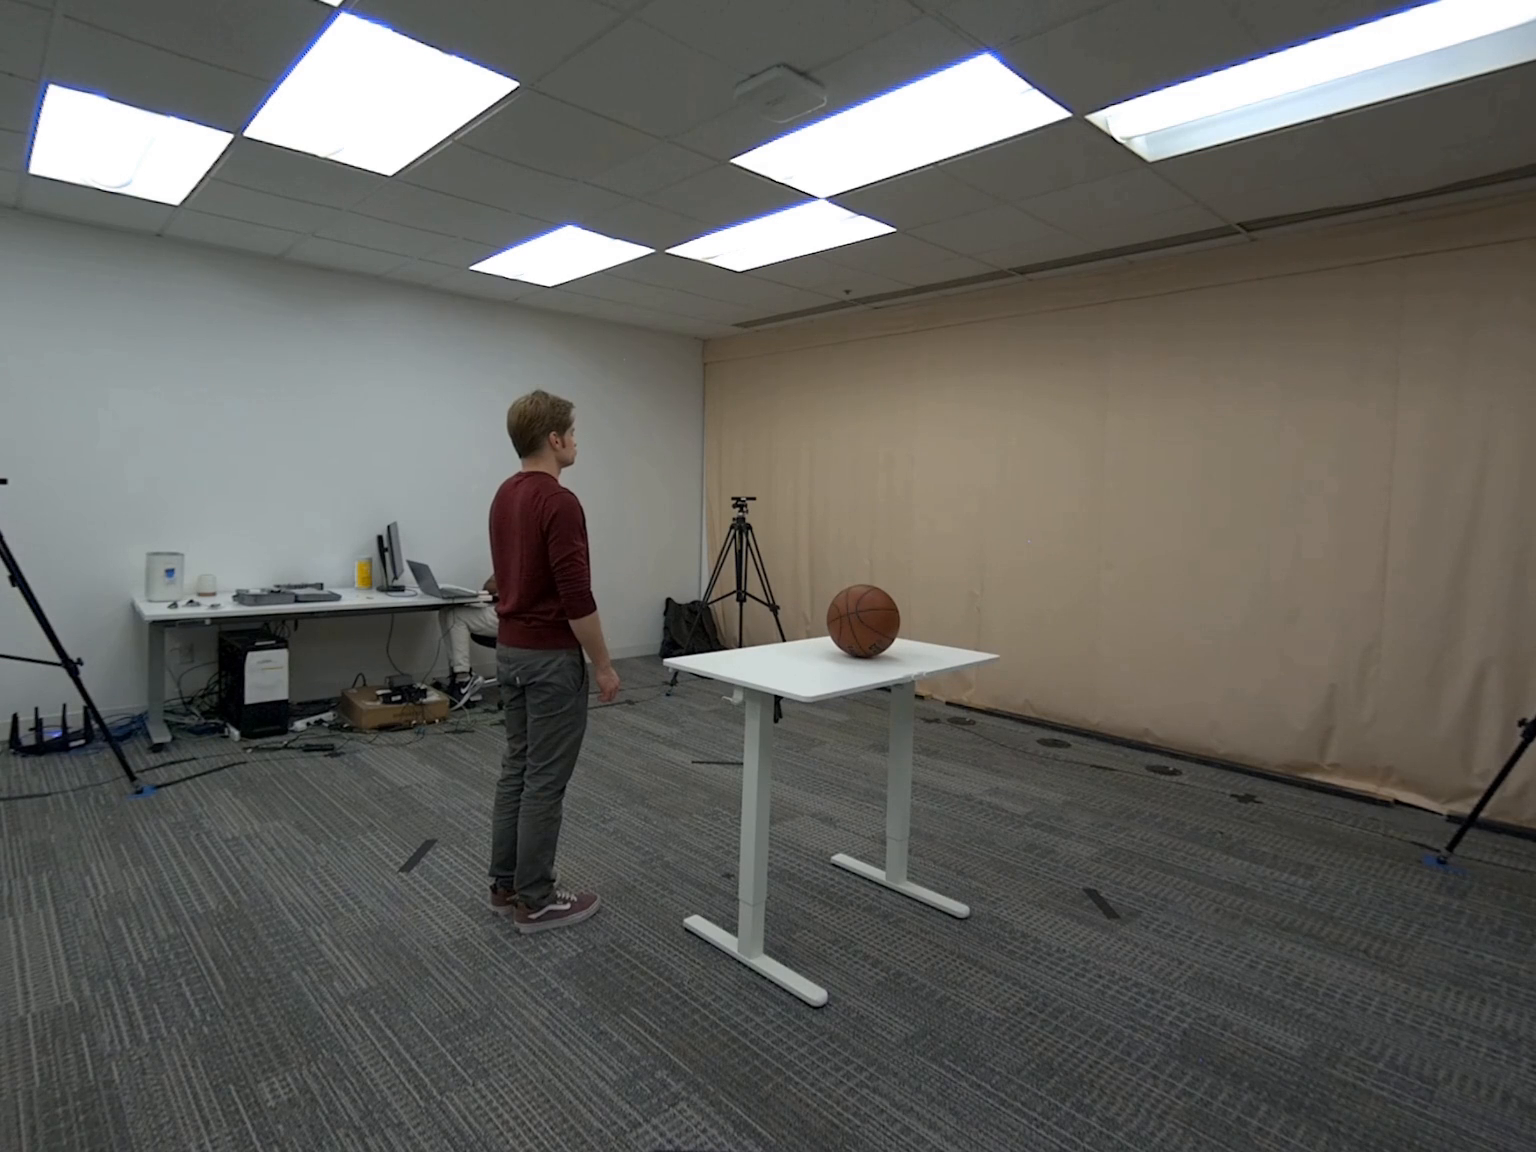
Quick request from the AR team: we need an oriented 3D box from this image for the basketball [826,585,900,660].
[{"bbox_3d":[0.297,0.146,2.766,0.236,0.235,0.237,1,4,-1],"label":"basketball"}]
